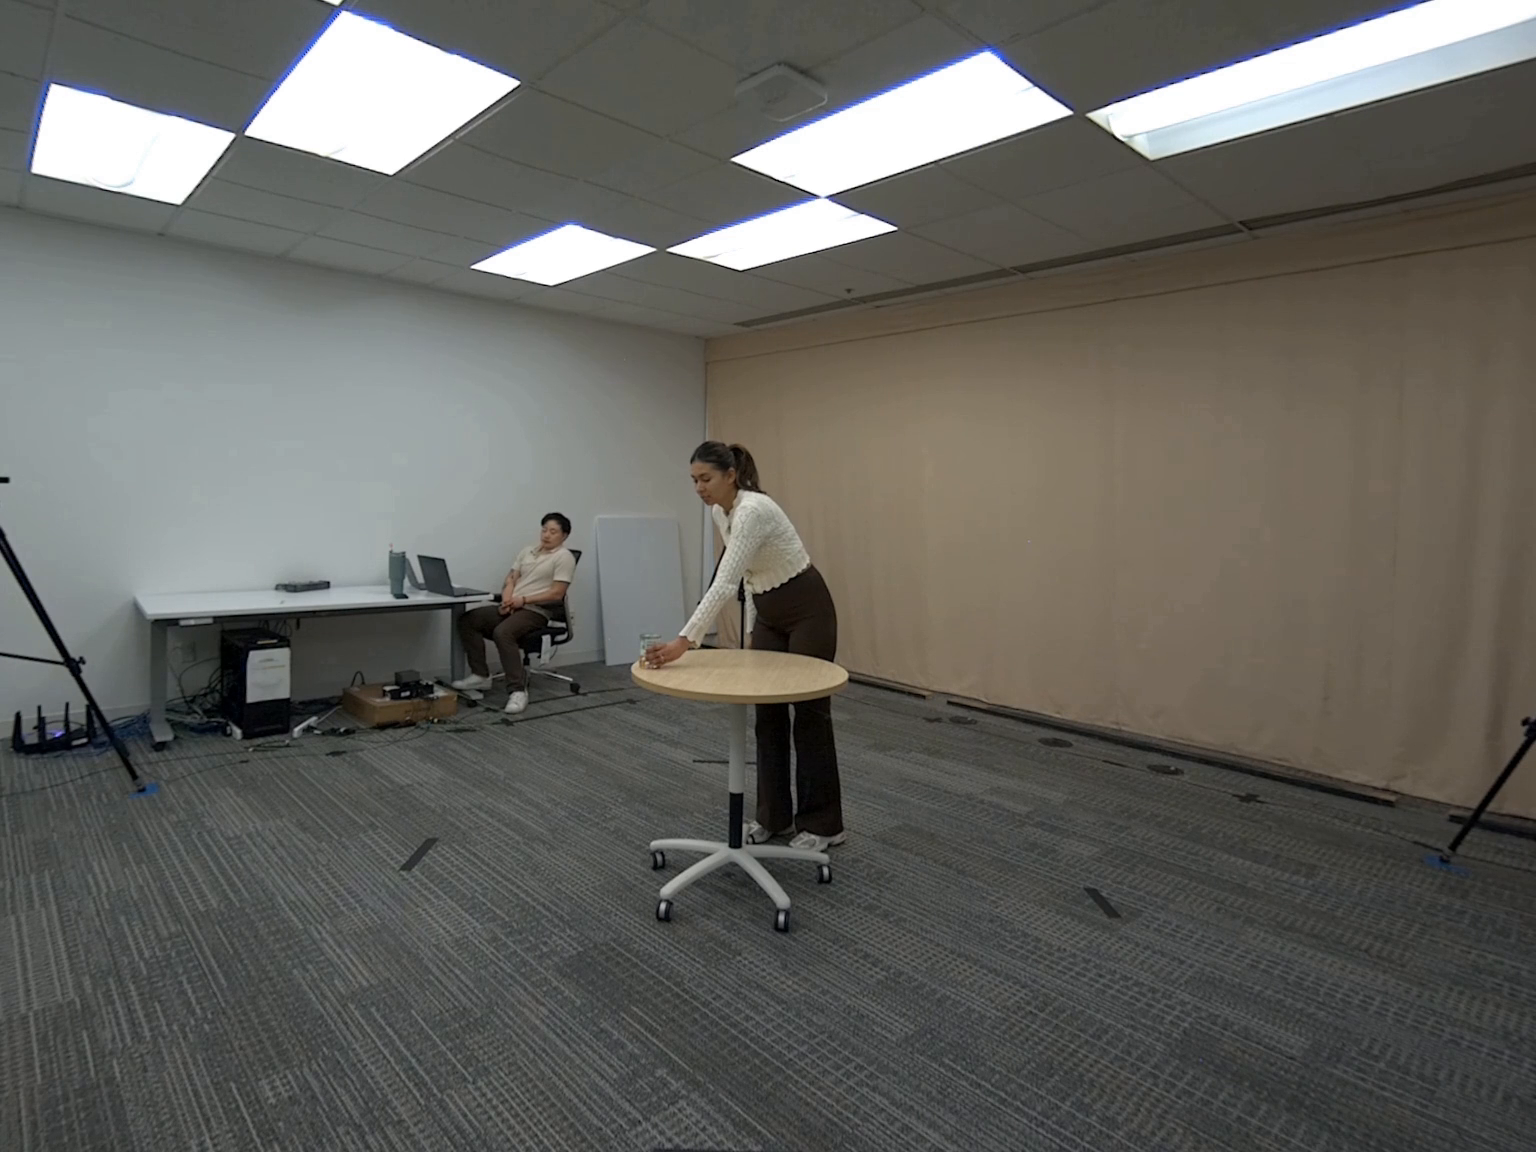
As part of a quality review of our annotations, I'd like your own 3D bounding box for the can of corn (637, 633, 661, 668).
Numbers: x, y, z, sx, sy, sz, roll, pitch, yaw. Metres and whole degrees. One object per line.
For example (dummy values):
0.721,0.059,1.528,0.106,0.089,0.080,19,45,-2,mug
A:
-0.420,0.265,2.974,0.074,0.110,0.074,3,6,-2,can of corn
